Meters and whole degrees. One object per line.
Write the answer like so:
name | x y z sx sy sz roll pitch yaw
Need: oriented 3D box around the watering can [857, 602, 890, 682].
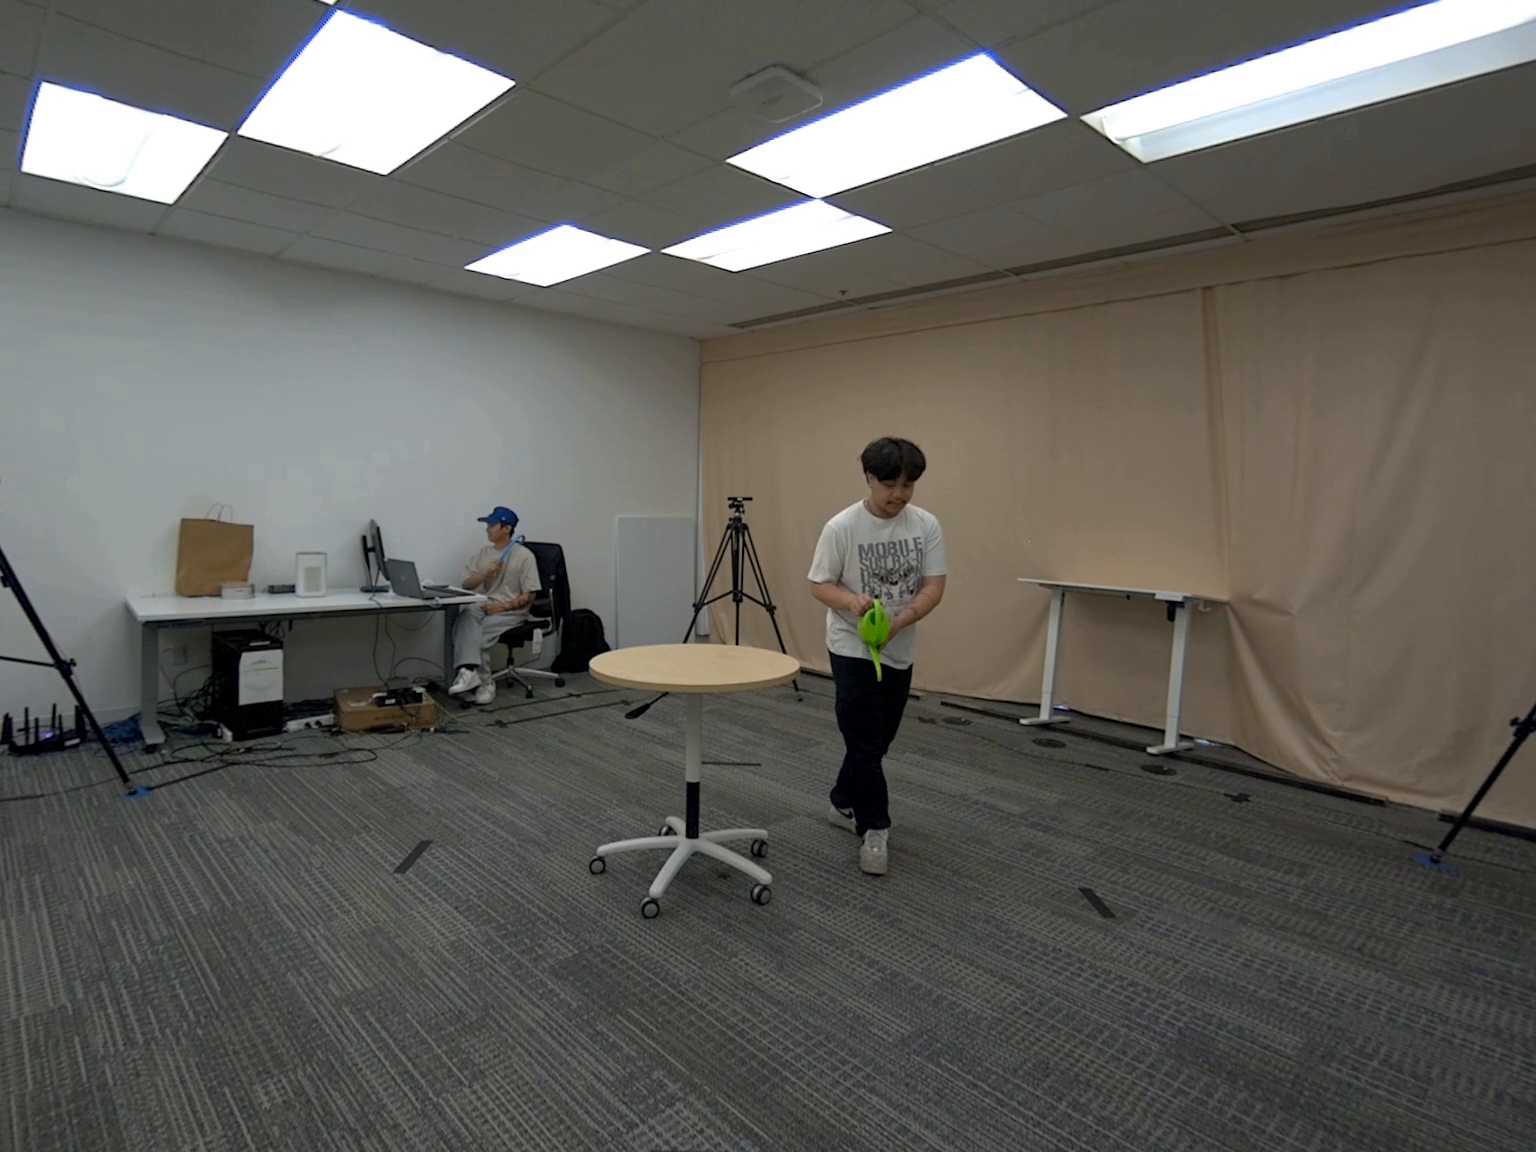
watering can | 0.356 0.227 2.992 0.098 0.280 0.175 12 -9 3
